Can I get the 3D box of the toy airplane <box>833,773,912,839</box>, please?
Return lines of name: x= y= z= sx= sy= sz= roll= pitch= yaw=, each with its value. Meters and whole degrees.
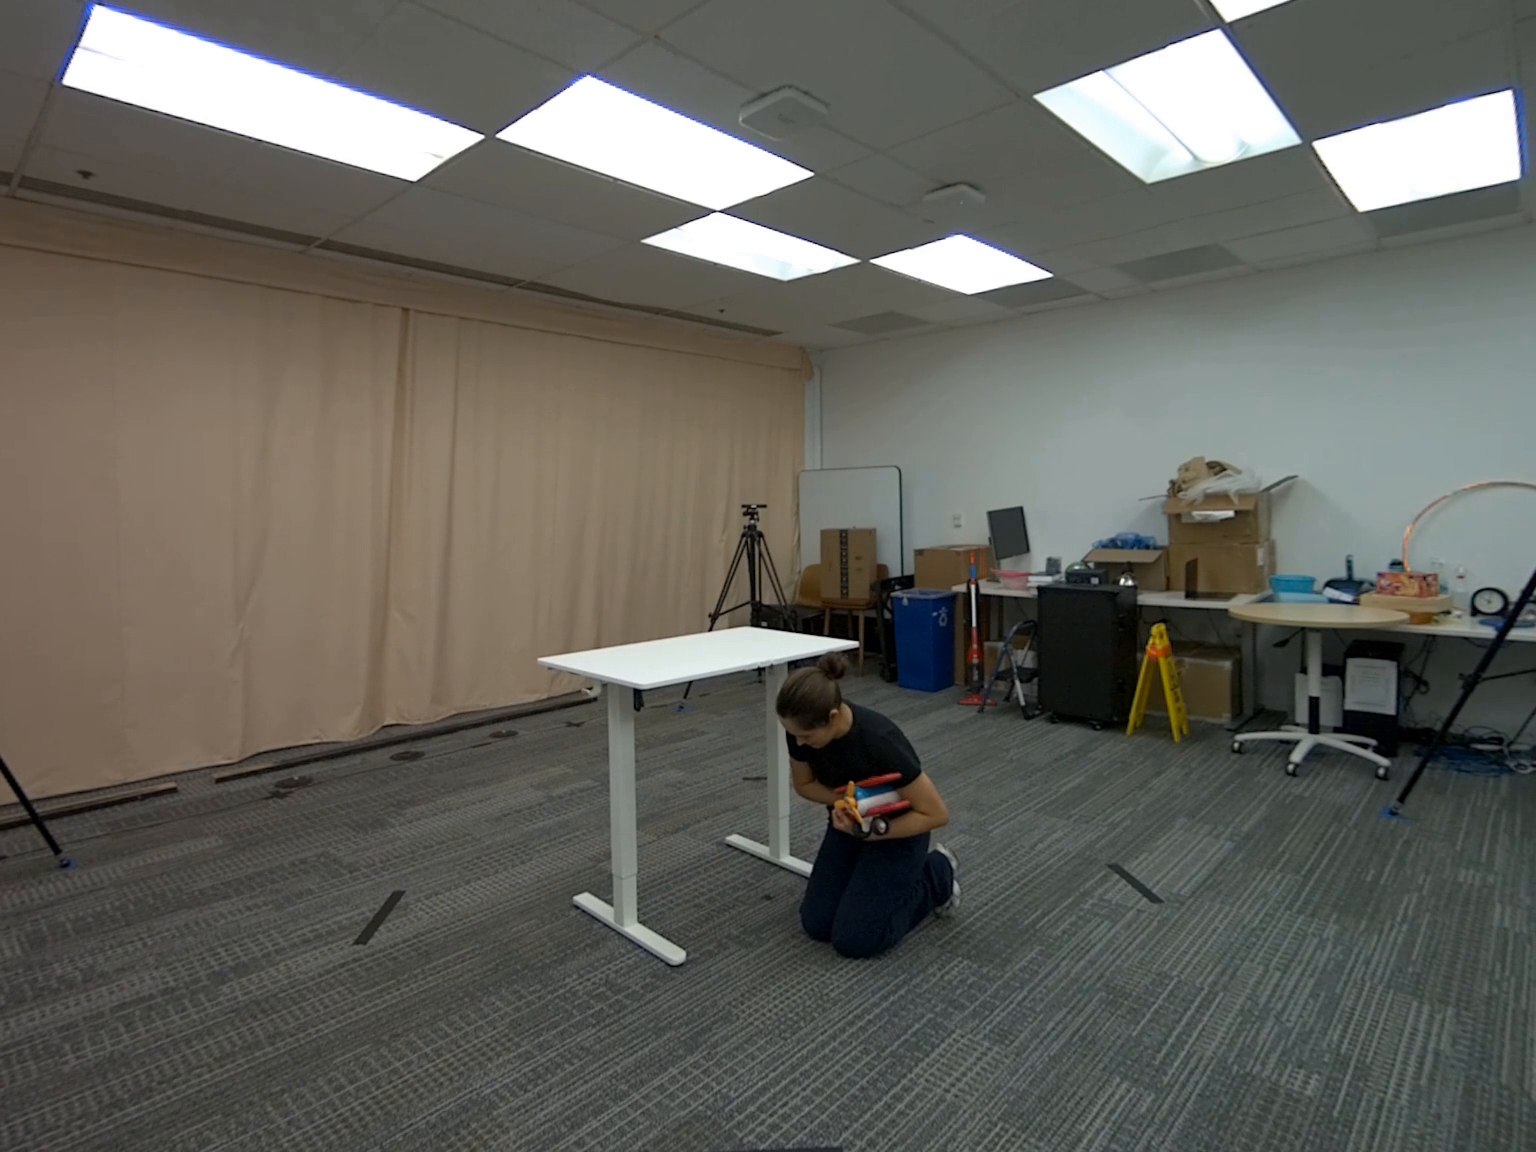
toy airplane: x=0.318 y=0.653 z=2.470 sx=0.254 sy=0.158 sz=0.253 roll=-27 pitch=-9 yaw=22
